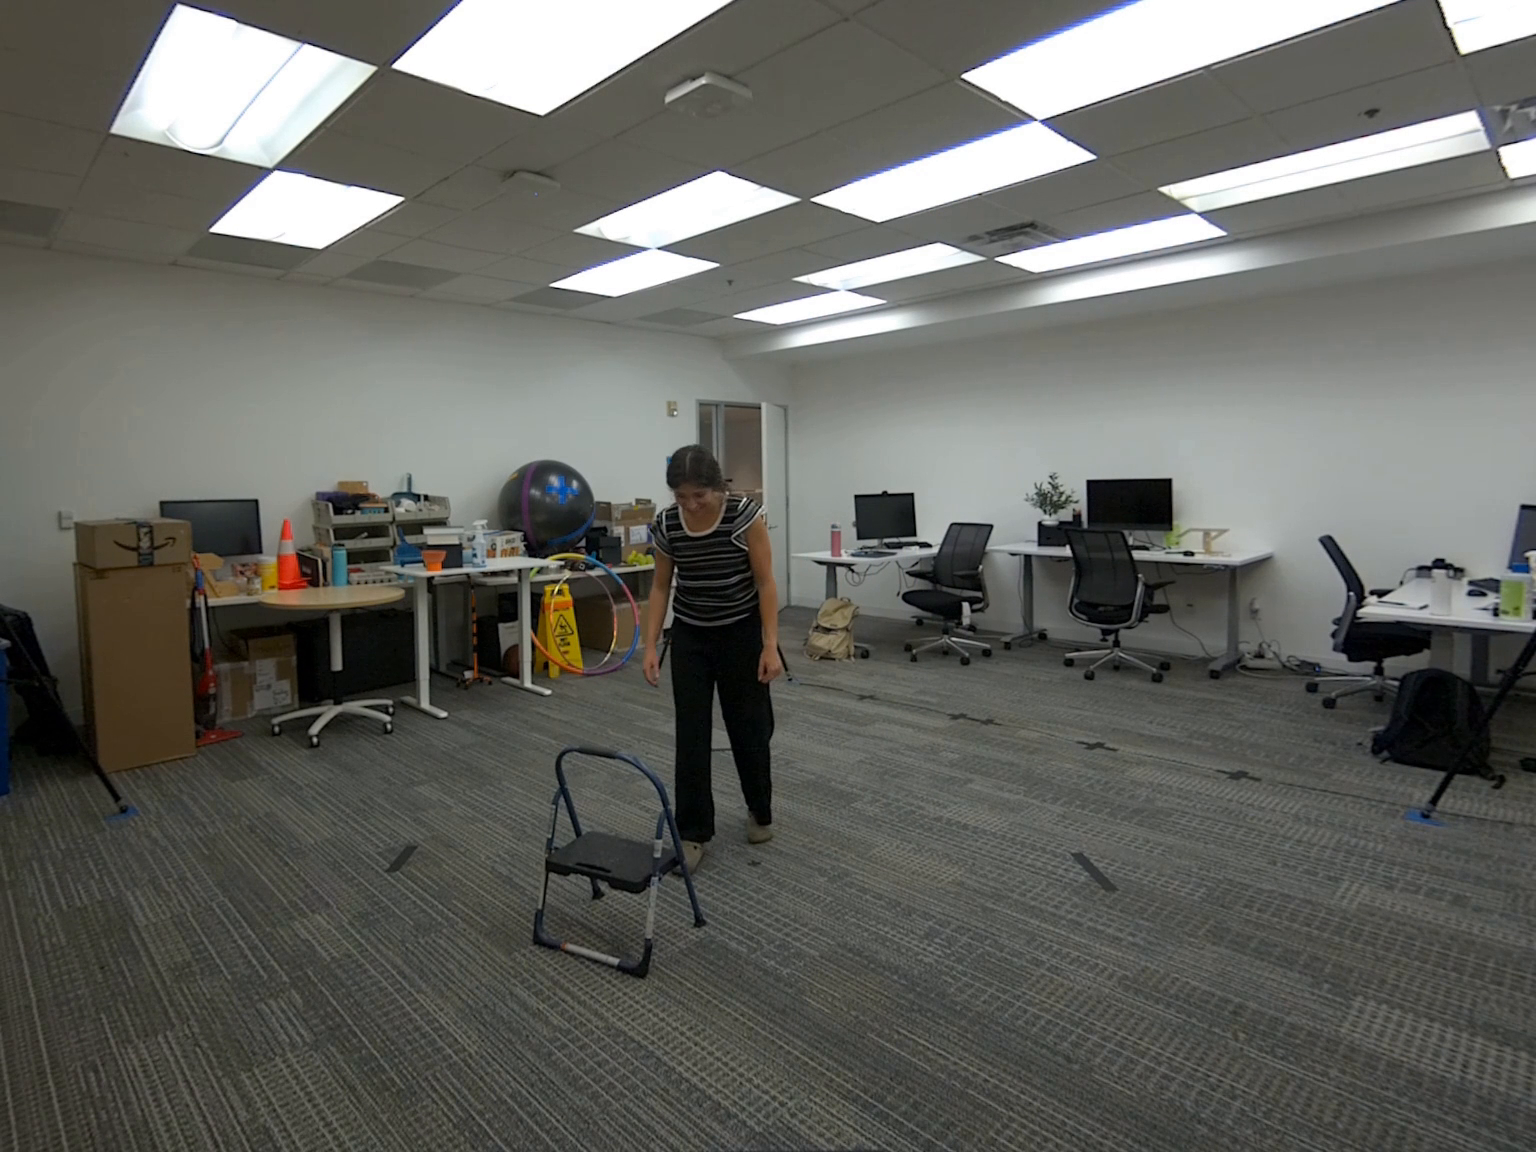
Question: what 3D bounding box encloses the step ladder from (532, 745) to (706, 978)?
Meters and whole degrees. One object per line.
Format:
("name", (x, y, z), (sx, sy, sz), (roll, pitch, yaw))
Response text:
("step ladder", (-0.465, 0.807, 2.628), (0.441, 0.604, 0.342), (1, 5, 27))
